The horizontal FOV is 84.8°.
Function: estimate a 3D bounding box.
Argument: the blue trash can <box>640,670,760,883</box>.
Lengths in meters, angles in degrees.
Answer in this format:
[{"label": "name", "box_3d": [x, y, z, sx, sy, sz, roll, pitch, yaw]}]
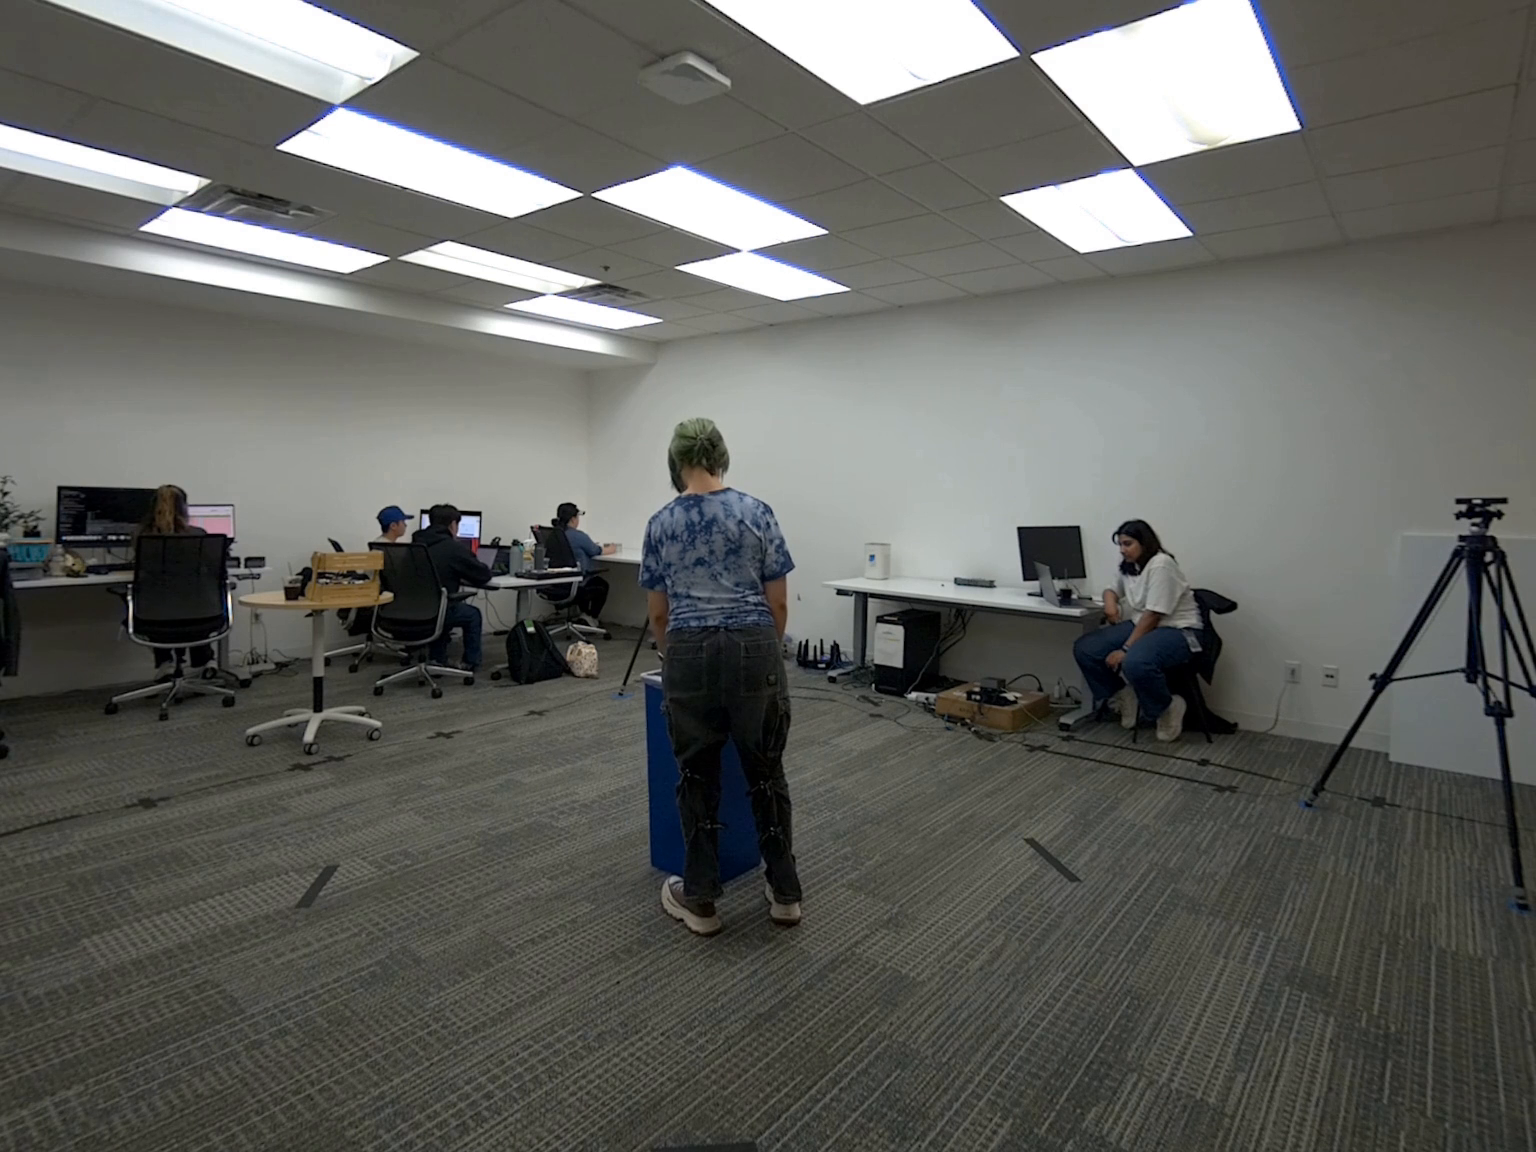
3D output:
[{"label": "blue trash can", "box_3d": [-0.236, 0.707, 3.130, 0.390, 0.712, 0.363, 3, 3, 39]}]
